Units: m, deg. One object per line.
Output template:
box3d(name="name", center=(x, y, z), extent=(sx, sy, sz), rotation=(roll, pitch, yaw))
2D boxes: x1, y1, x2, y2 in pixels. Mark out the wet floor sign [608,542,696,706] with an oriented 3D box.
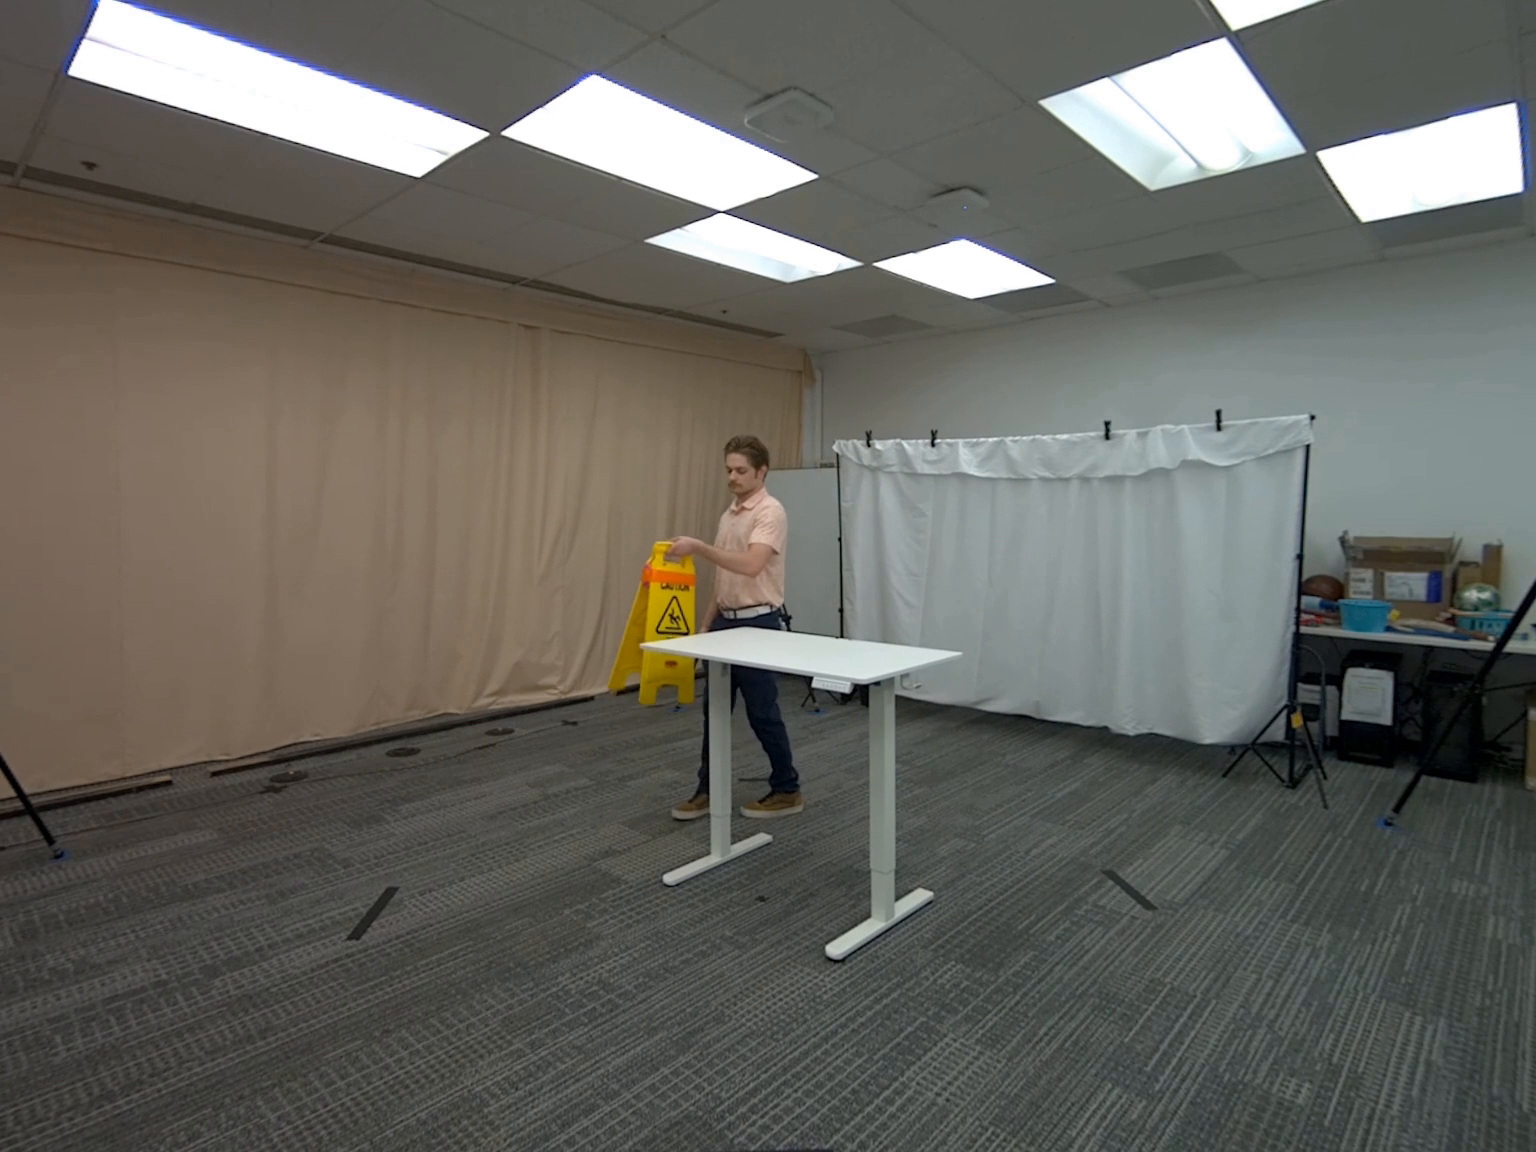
box3d(name="wet floor sign", center=(-0.444, 0.176, 3.541), extent=(0.273, 0.646, 0.300), rotation=(8, 1, -42))
